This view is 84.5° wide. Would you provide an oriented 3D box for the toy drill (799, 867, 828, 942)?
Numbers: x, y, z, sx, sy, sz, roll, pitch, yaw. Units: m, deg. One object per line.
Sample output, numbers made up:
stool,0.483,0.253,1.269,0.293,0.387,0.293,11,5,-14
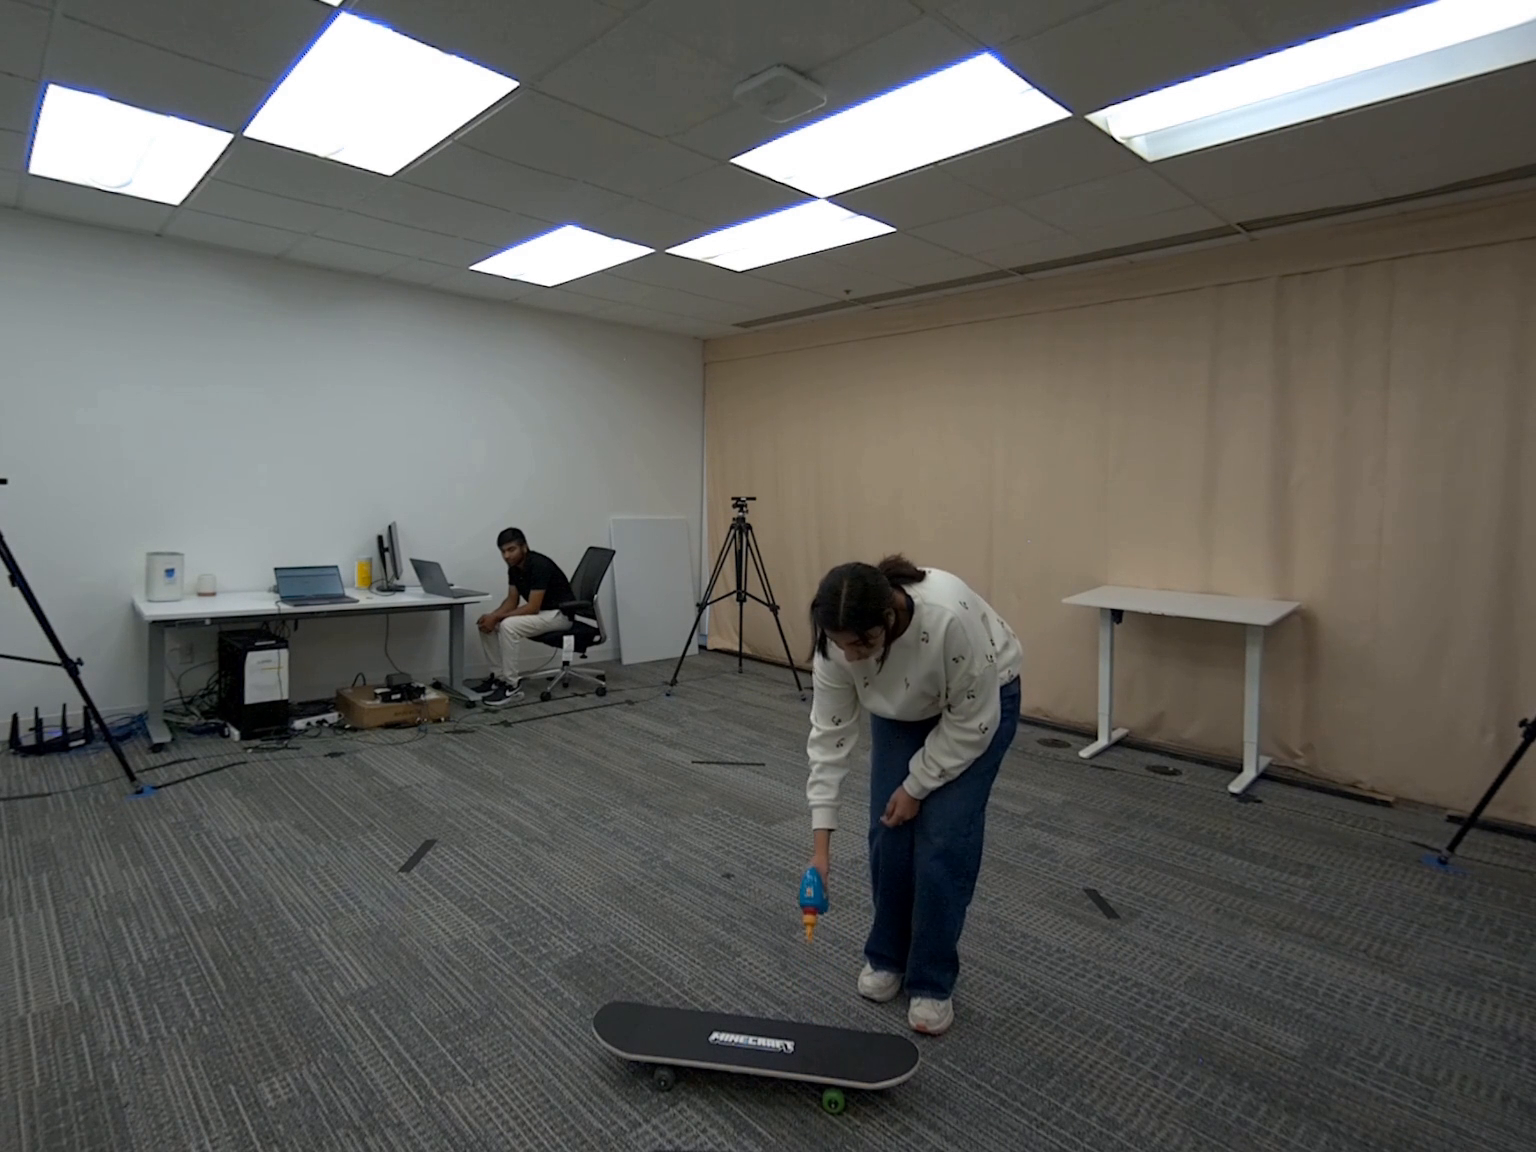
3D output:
toy drill,0.100,0.819,2.067,0.062,0.173,0.142,-1,-34,12
